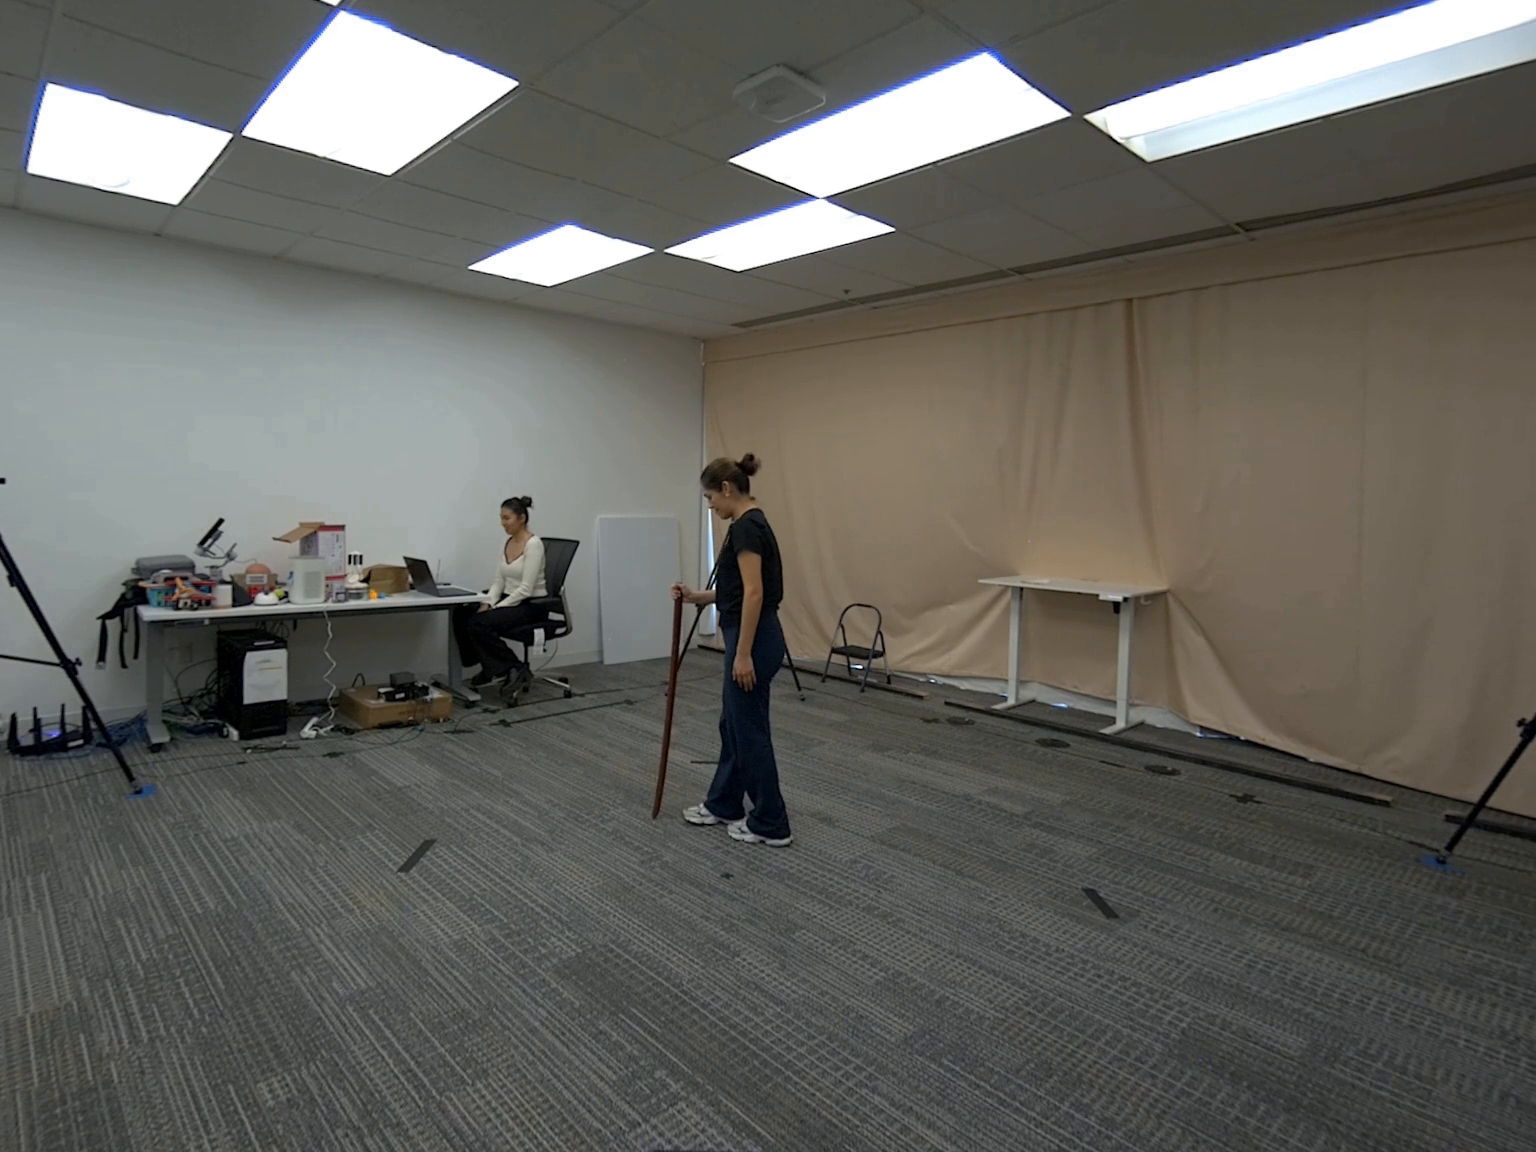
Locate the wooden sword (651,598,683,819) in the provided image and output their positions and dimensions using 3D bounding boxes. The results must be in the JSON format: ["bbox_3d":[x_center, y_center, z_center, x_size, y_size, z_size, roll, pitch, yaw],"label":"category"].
[{"bbox_3d":[-0.423,0.539,3.633,0.051,1.023,0.024,7,3,-13],"label":"wooden sword"}]
